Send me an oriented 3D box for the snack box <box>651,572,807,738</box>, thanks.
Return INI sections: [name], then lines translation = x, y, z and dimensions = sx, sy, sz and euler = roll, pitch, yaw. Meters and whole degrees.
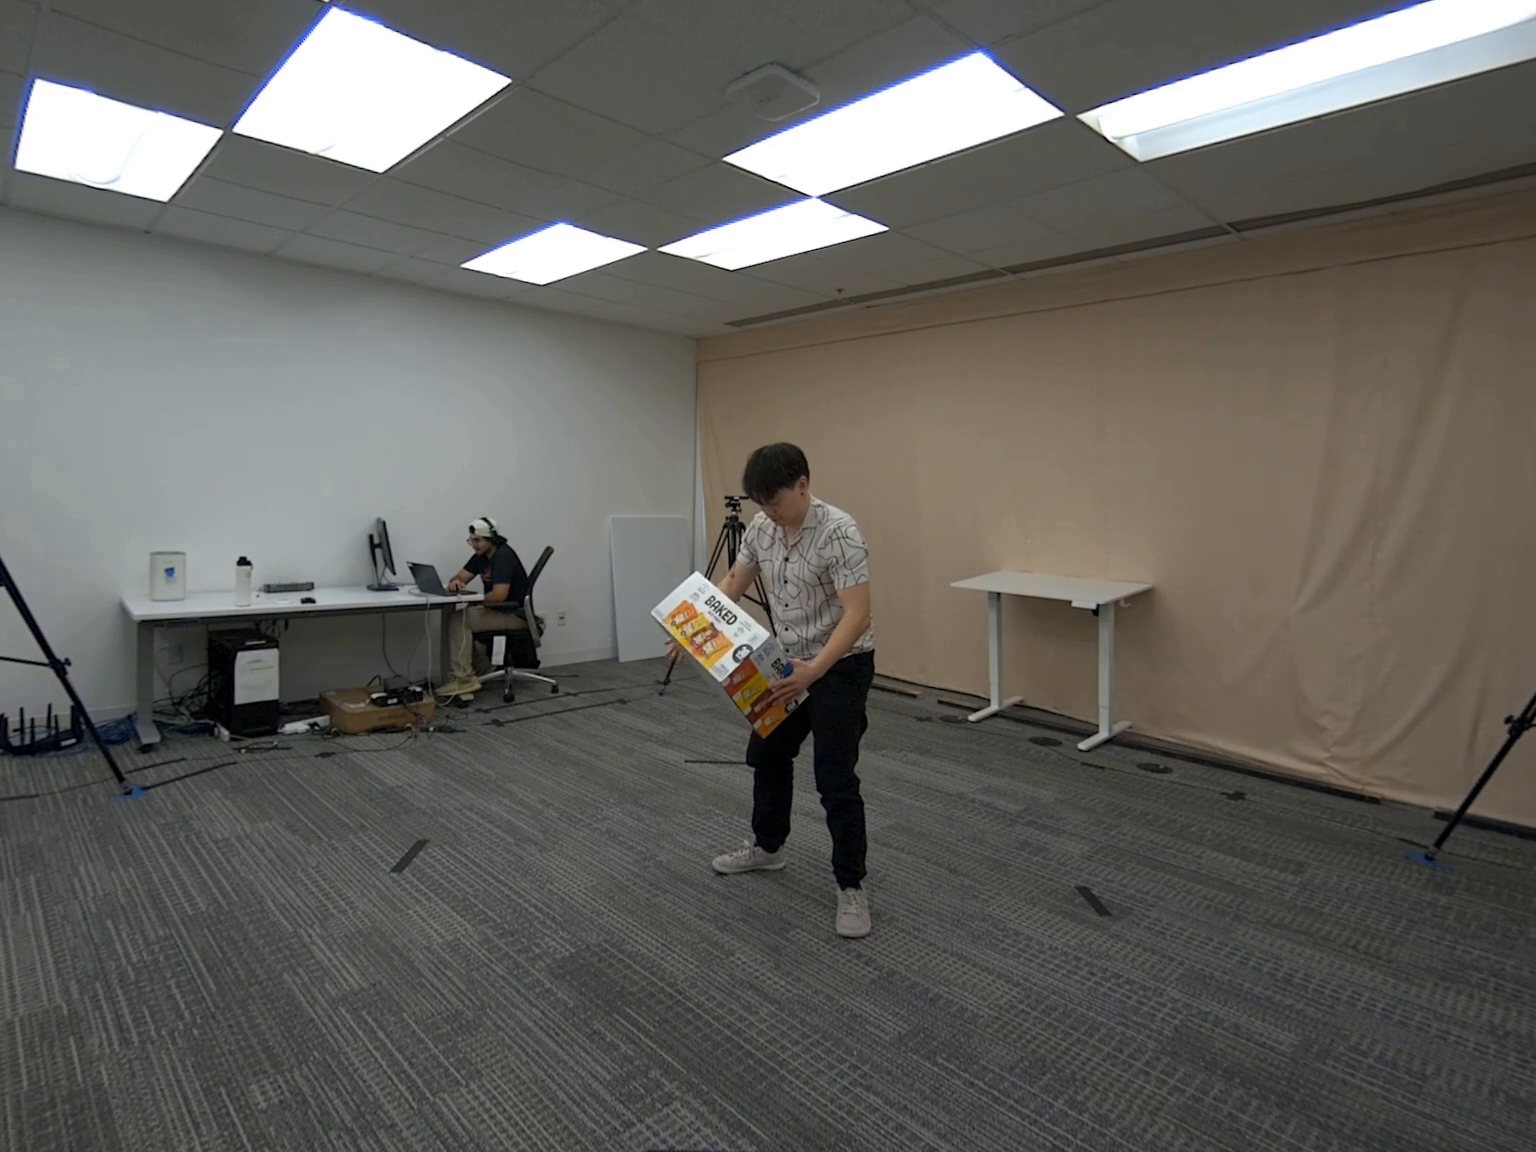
[snack box]
translation = -0.131, 0.249, 2.635
dimensions = 0.418, 0.205, 0.330
euler = 37, -15, 44
